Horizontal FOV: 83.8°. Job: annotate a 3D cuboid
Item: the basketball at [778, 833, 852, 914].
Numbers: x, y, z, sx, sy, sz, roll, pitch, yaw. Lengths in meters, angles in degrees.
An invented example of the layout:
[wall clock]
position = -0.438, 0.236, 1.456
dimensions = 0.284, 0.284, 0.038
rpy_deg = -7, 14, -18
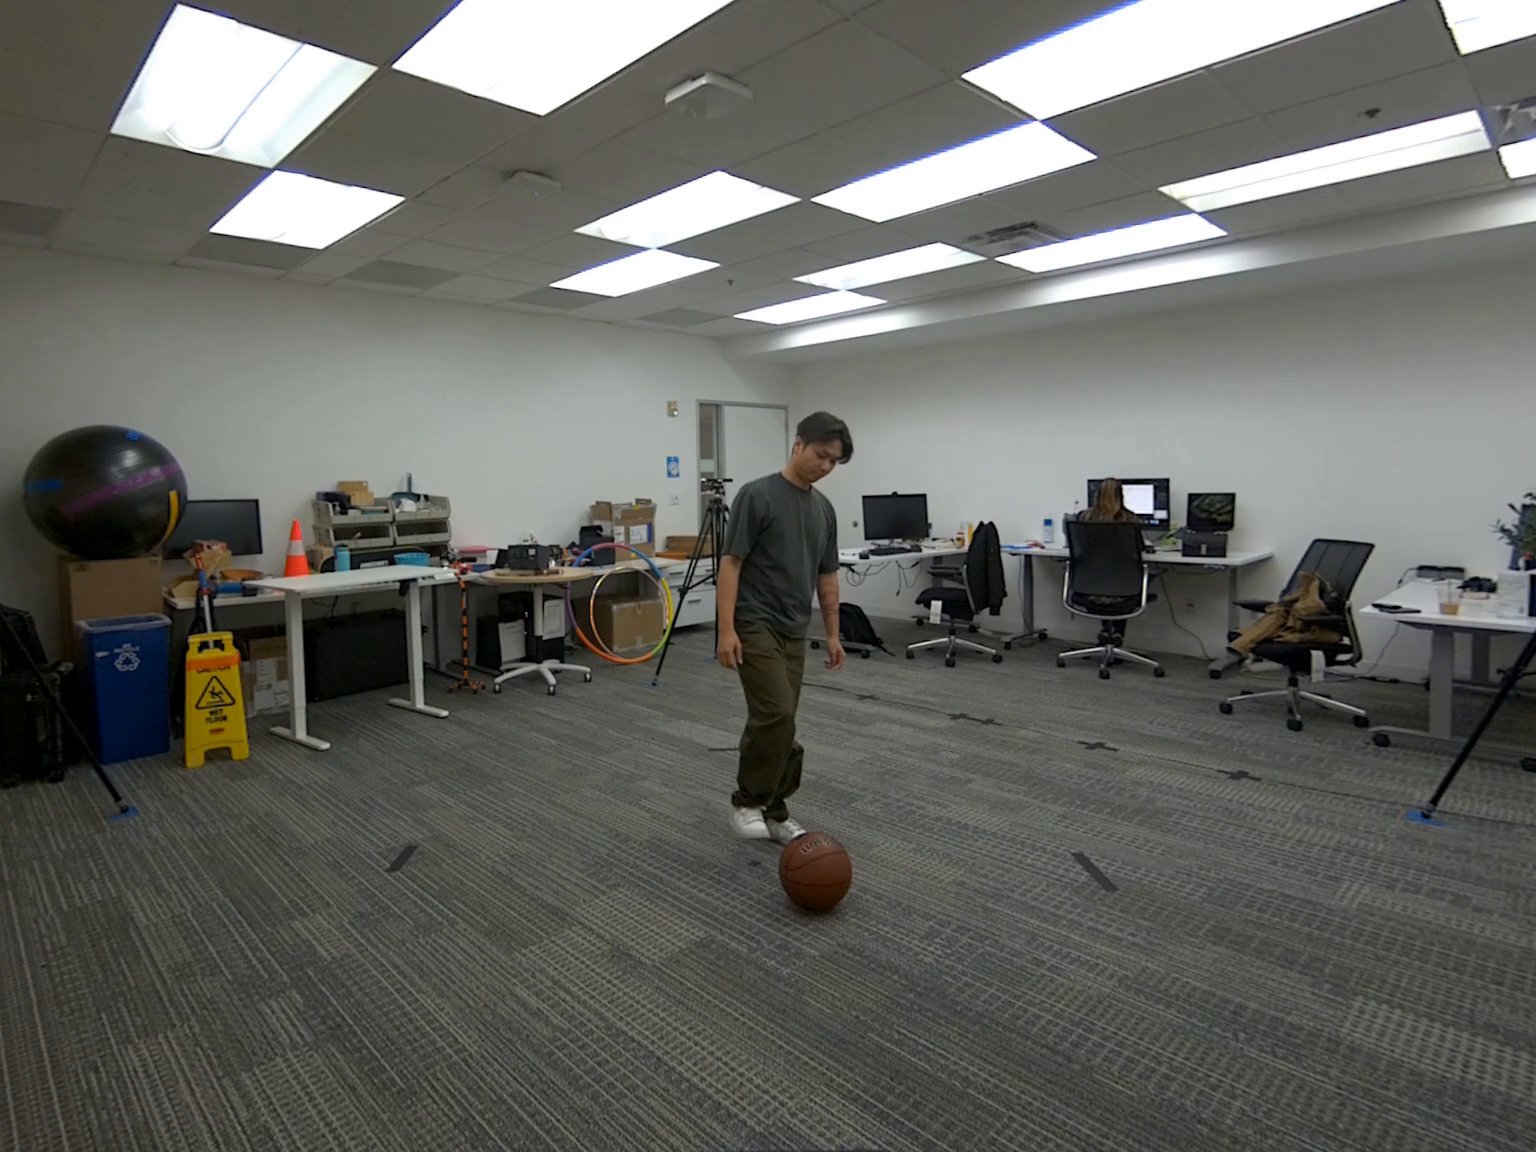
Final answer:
[basketball]
position = 0.155, 0.957, 2.786
dimensions = 0.236, 0.235, 0.237
rpy_deg = -1, 5, -2
